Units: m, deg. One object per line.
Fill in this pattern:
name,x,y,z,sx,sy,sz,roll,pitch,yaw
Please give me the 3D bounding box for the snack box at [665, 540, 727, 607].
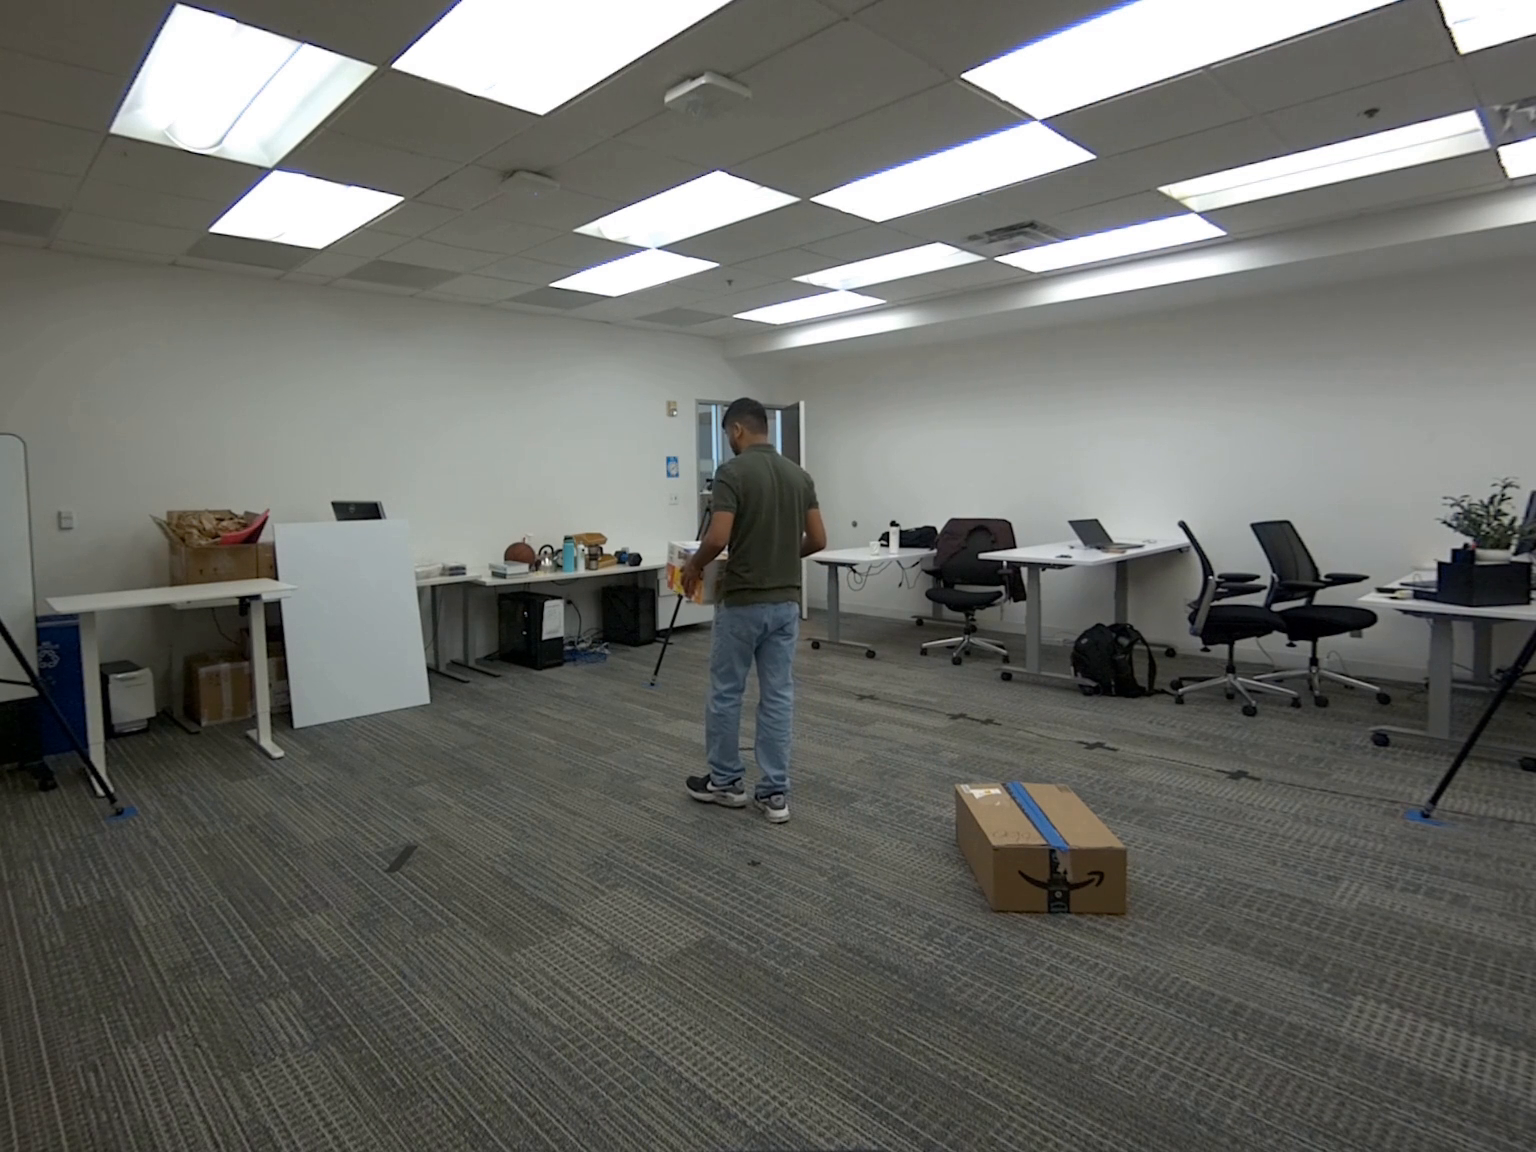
snack box,-0.190,-0.024,3.801,0.395,0.204,0.352,-3,15,-32
